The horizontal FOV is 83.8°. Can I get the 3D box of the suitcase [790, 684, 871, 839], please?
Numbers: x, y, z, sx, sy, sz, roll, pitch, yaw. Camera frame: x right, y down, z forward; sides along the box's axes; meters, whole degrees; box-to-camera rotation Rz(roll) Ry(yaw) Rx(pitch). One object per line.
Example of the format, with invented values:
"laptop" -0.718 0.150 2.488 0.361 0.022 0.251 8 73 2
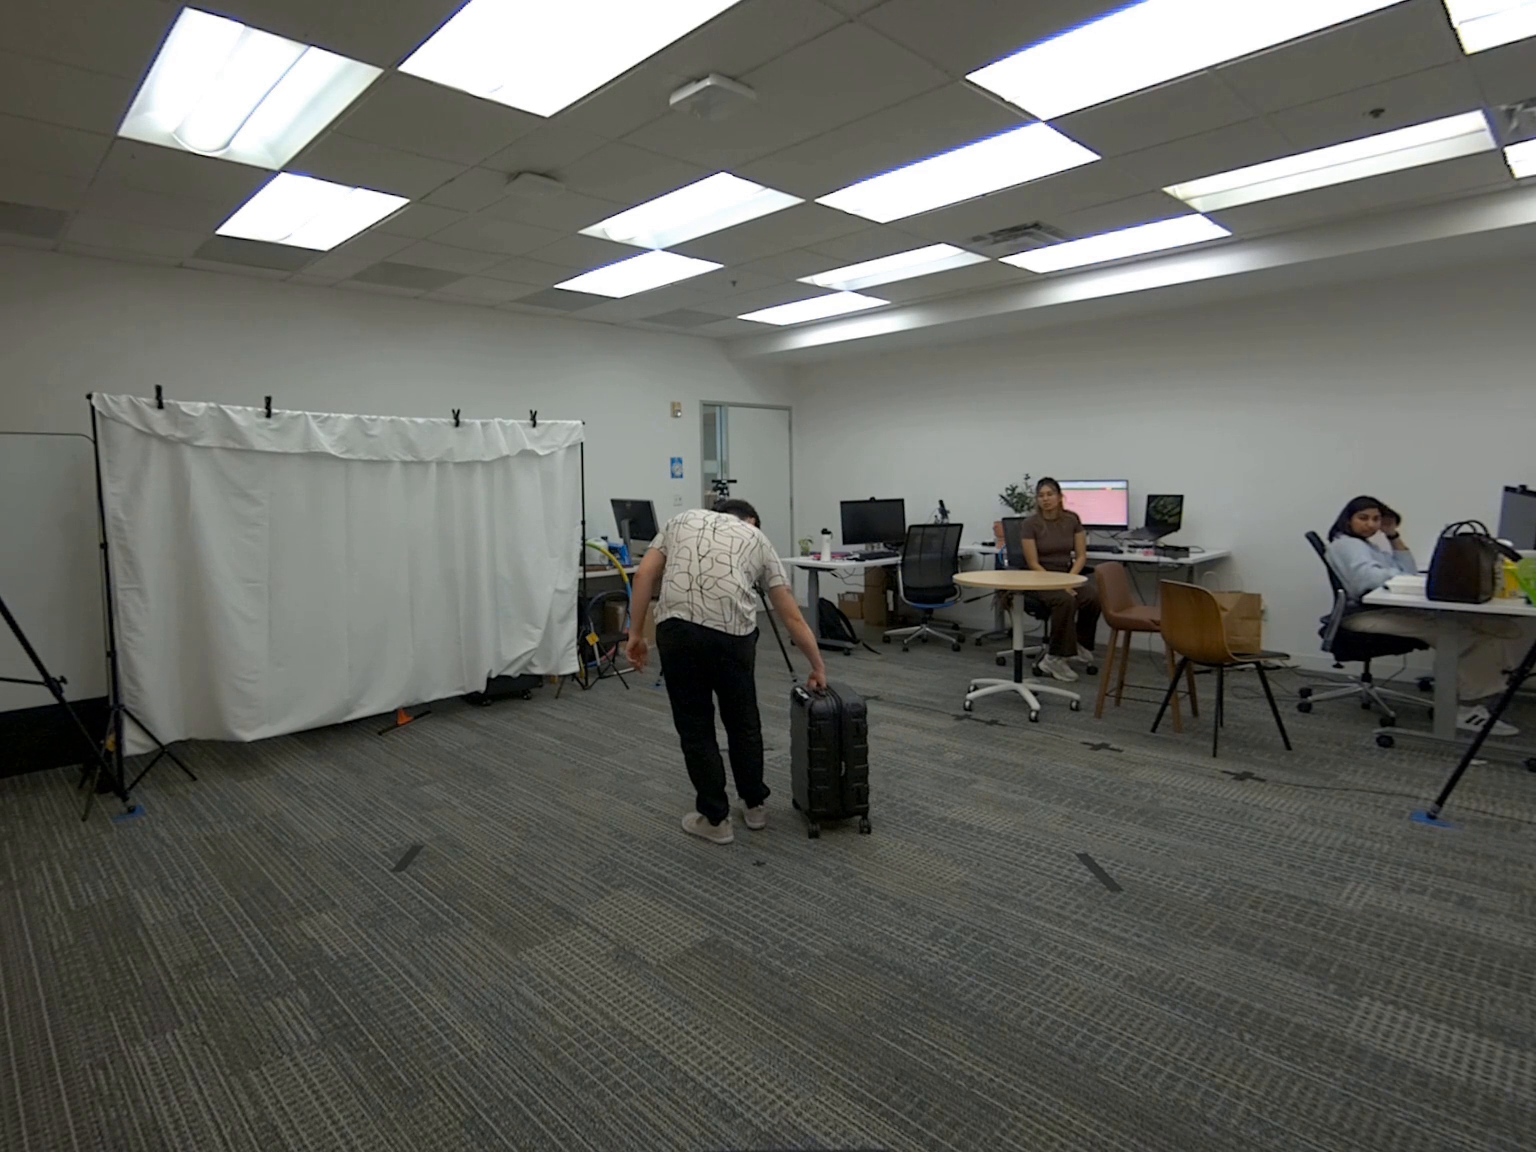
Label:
"suitcase" 0.241 0.720 3.502 0.247 0.548 0.379 -2 3 -7
